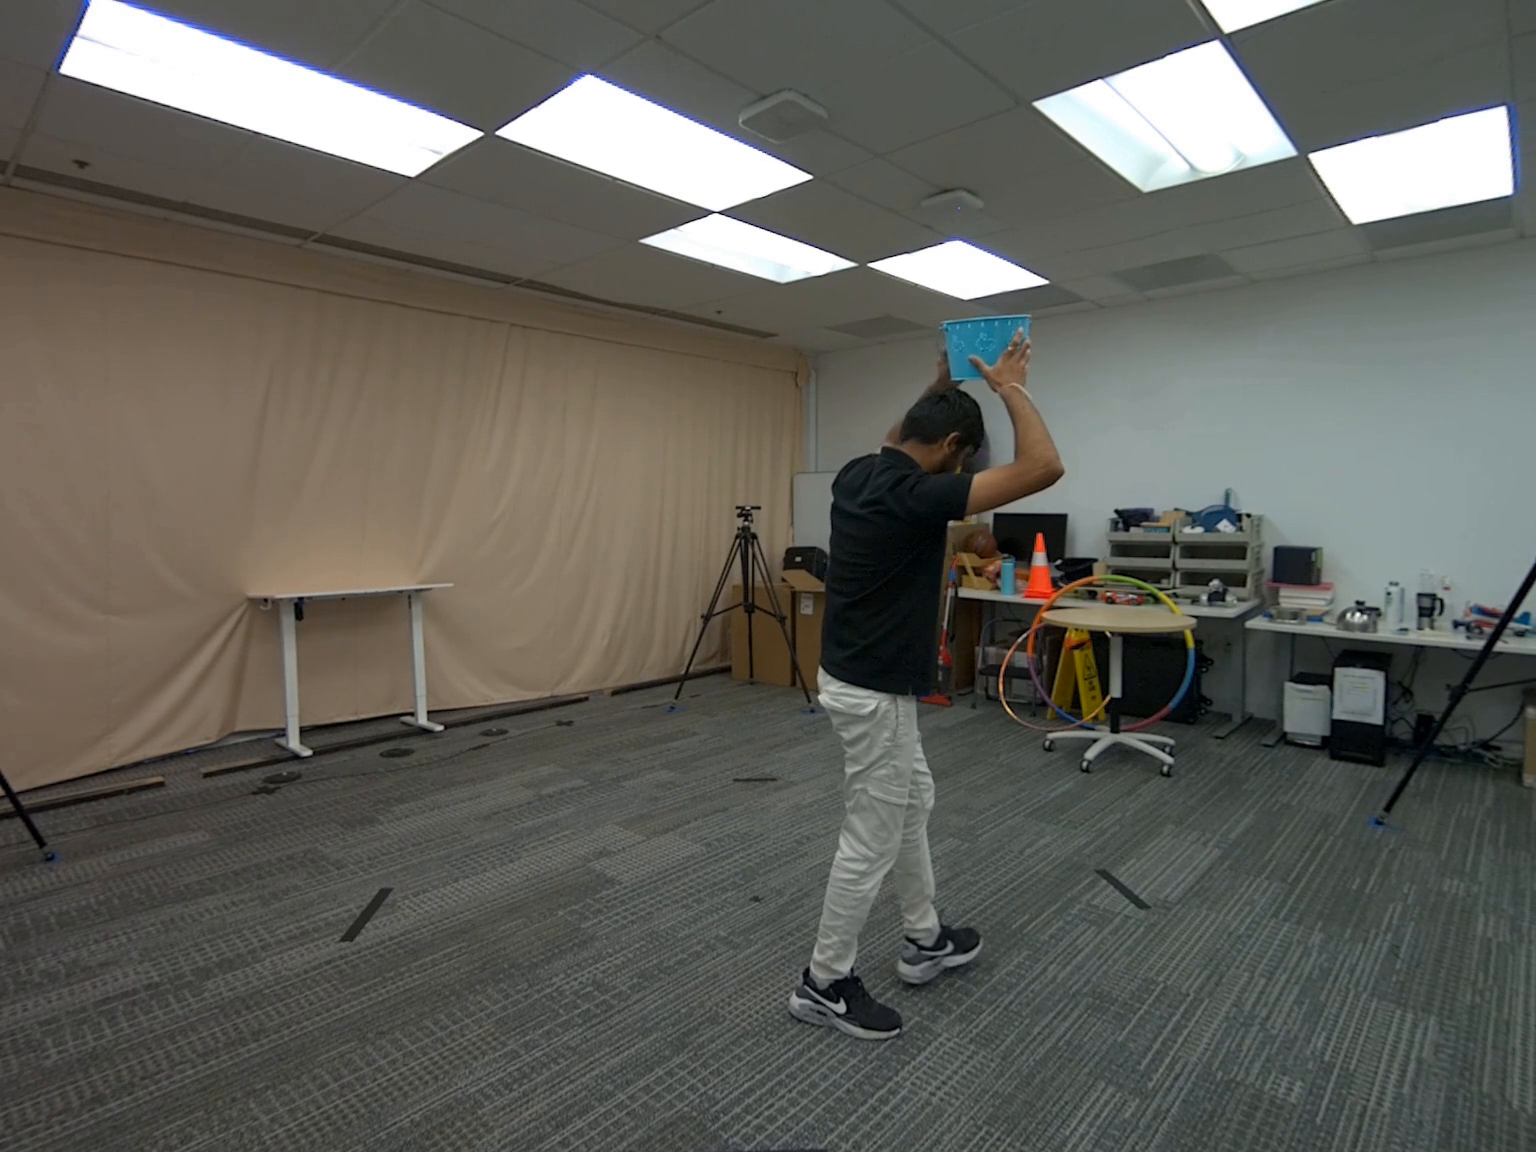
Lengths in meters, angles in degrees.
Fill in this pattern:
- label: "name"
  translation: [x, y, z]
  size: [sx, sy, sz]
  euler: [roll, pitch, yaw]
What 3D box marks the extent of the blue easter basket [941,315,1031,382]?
- label: "blue easter basket"
  translation: [0.593, -0.600, 2.231]
  size: [0.243, 0.154, 0.246]
  euler: [-3, 12, -1]
